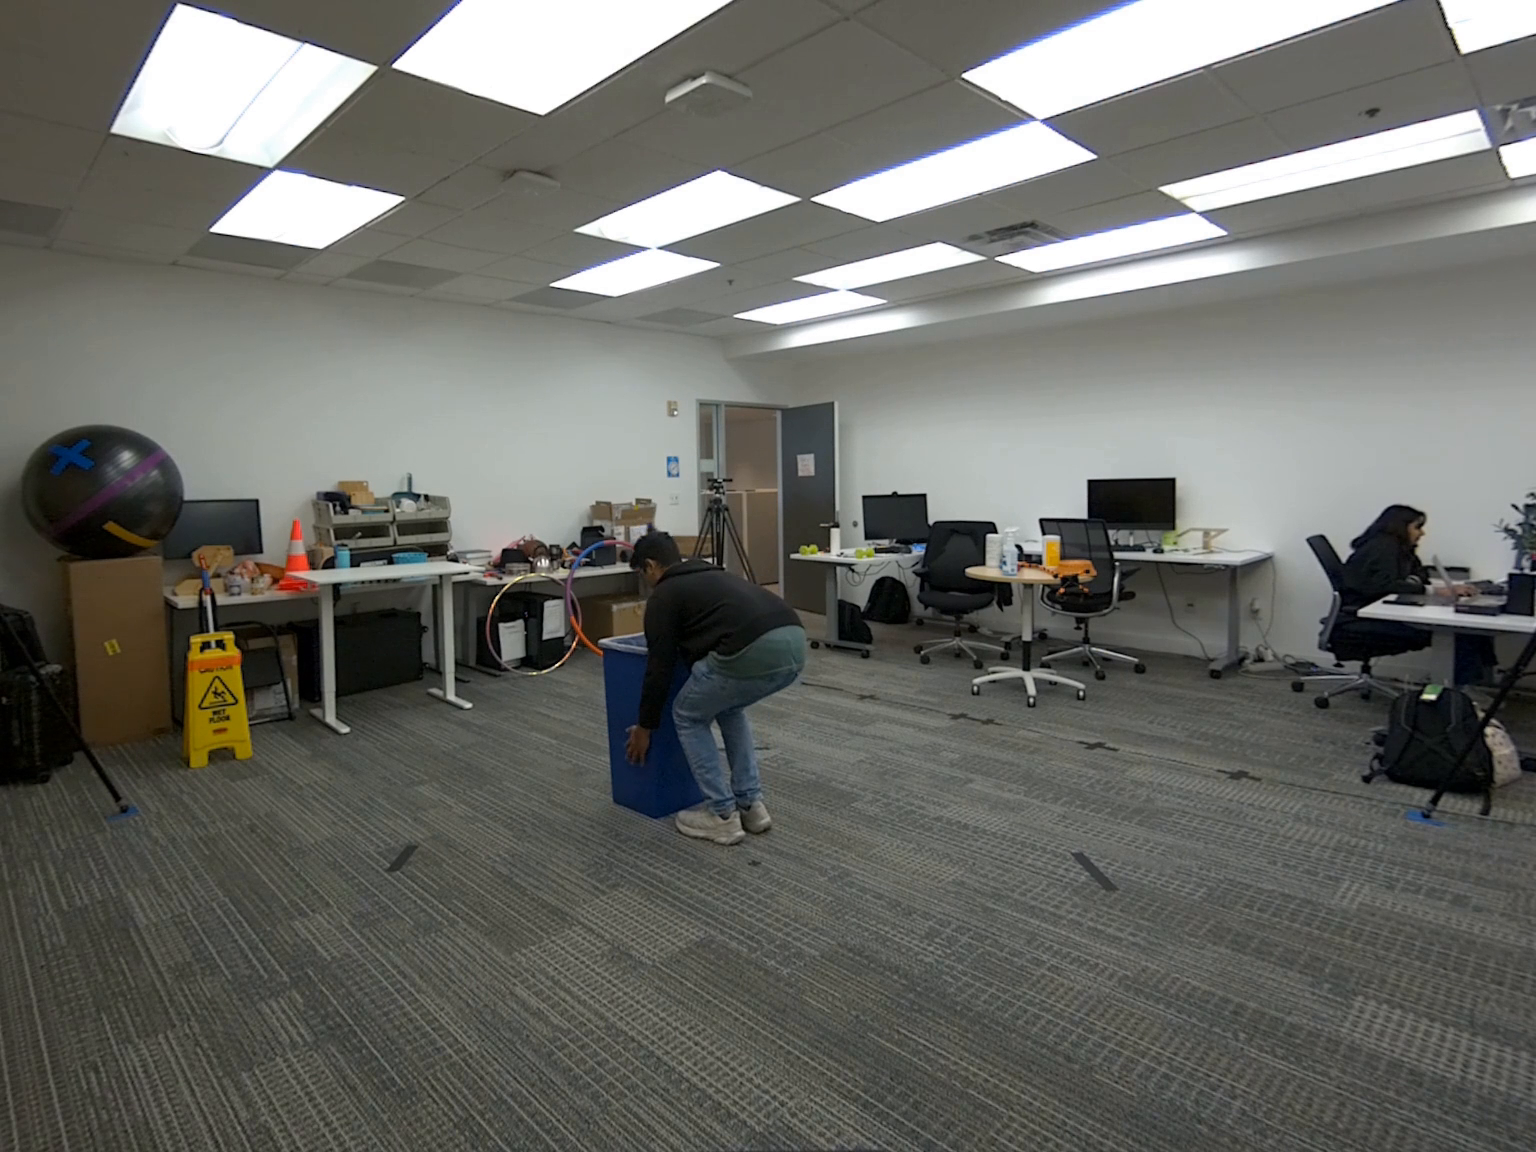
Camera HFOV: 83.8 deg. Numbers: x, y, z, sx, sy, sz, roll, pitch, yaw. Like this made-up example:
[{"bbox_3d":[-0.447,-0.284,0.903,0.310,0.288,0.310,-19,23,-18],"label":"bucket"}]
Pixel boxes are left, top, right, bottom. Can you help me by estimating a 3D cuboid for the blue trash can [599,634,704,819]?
[{"bbox_3d":[-0.488,0.628,3.726,0.385,0.712,0.368,2,4,43],"label":"blue trash can"}]
